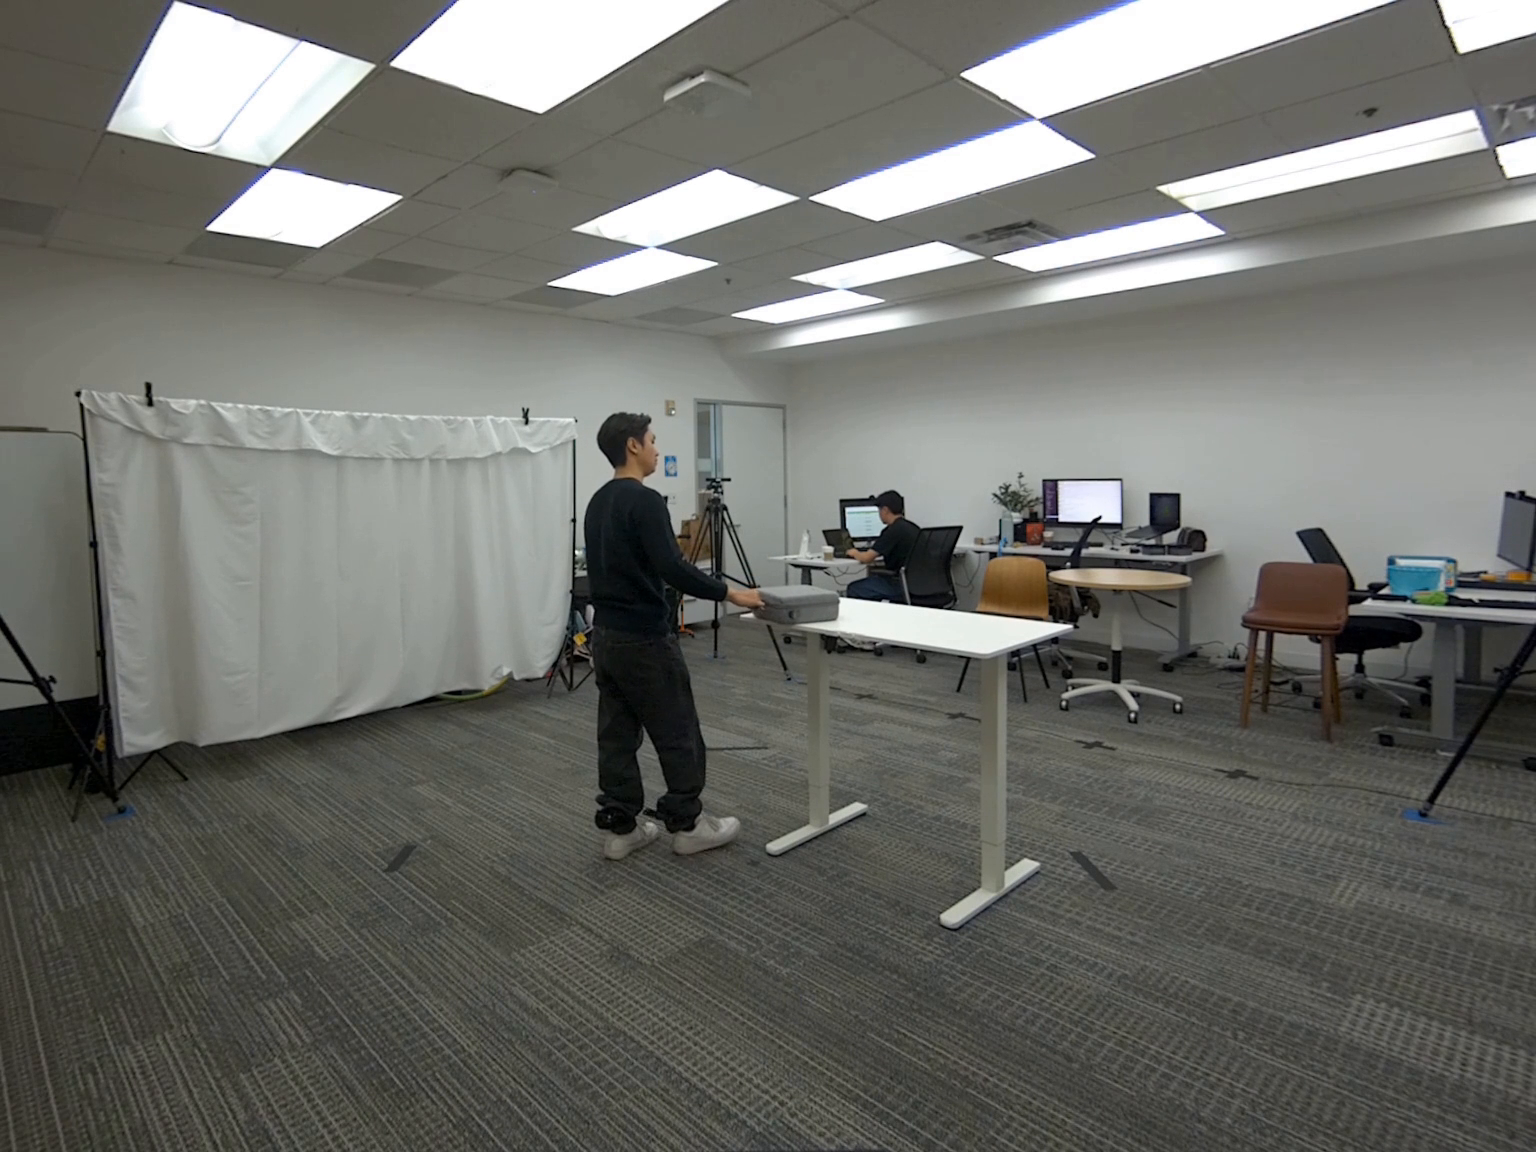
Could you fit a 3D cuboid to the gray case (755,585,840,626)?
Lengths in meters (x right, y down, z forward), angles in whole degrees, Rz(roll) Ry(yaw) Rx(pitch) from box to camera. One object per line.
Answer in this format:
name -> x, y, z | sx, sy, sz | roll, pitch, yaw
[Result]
gray case -> 0.098, 0.101, 3.108 | 0.255, 0.103, 0.264 | -4, 9, -25
